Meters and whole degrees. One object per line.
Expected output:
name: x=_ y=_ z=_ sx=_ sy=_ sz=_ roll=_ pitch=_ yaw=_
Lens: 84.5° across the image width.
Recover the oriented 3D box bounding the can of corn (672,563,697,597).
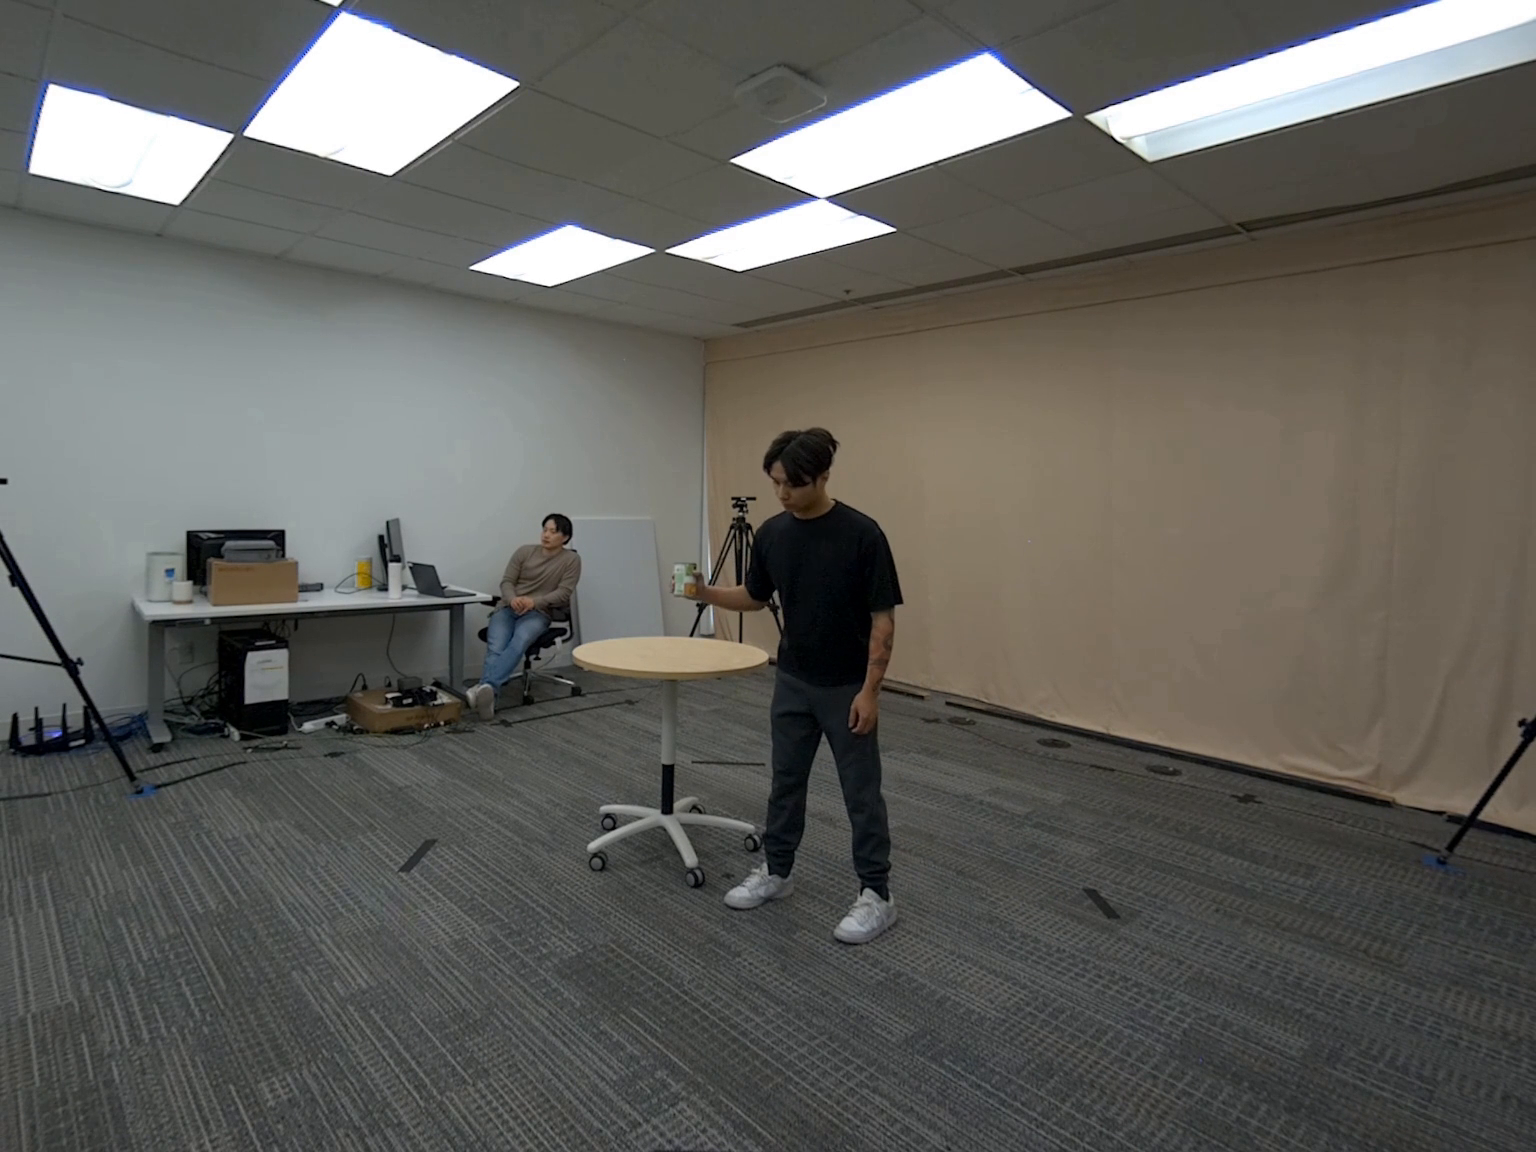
can of corn: x=-0.271 y=0.016 z=2.805 sx=0.074 sy=0.111 sz=0.074 roll=-1 pitch=-3 yaw=-1
